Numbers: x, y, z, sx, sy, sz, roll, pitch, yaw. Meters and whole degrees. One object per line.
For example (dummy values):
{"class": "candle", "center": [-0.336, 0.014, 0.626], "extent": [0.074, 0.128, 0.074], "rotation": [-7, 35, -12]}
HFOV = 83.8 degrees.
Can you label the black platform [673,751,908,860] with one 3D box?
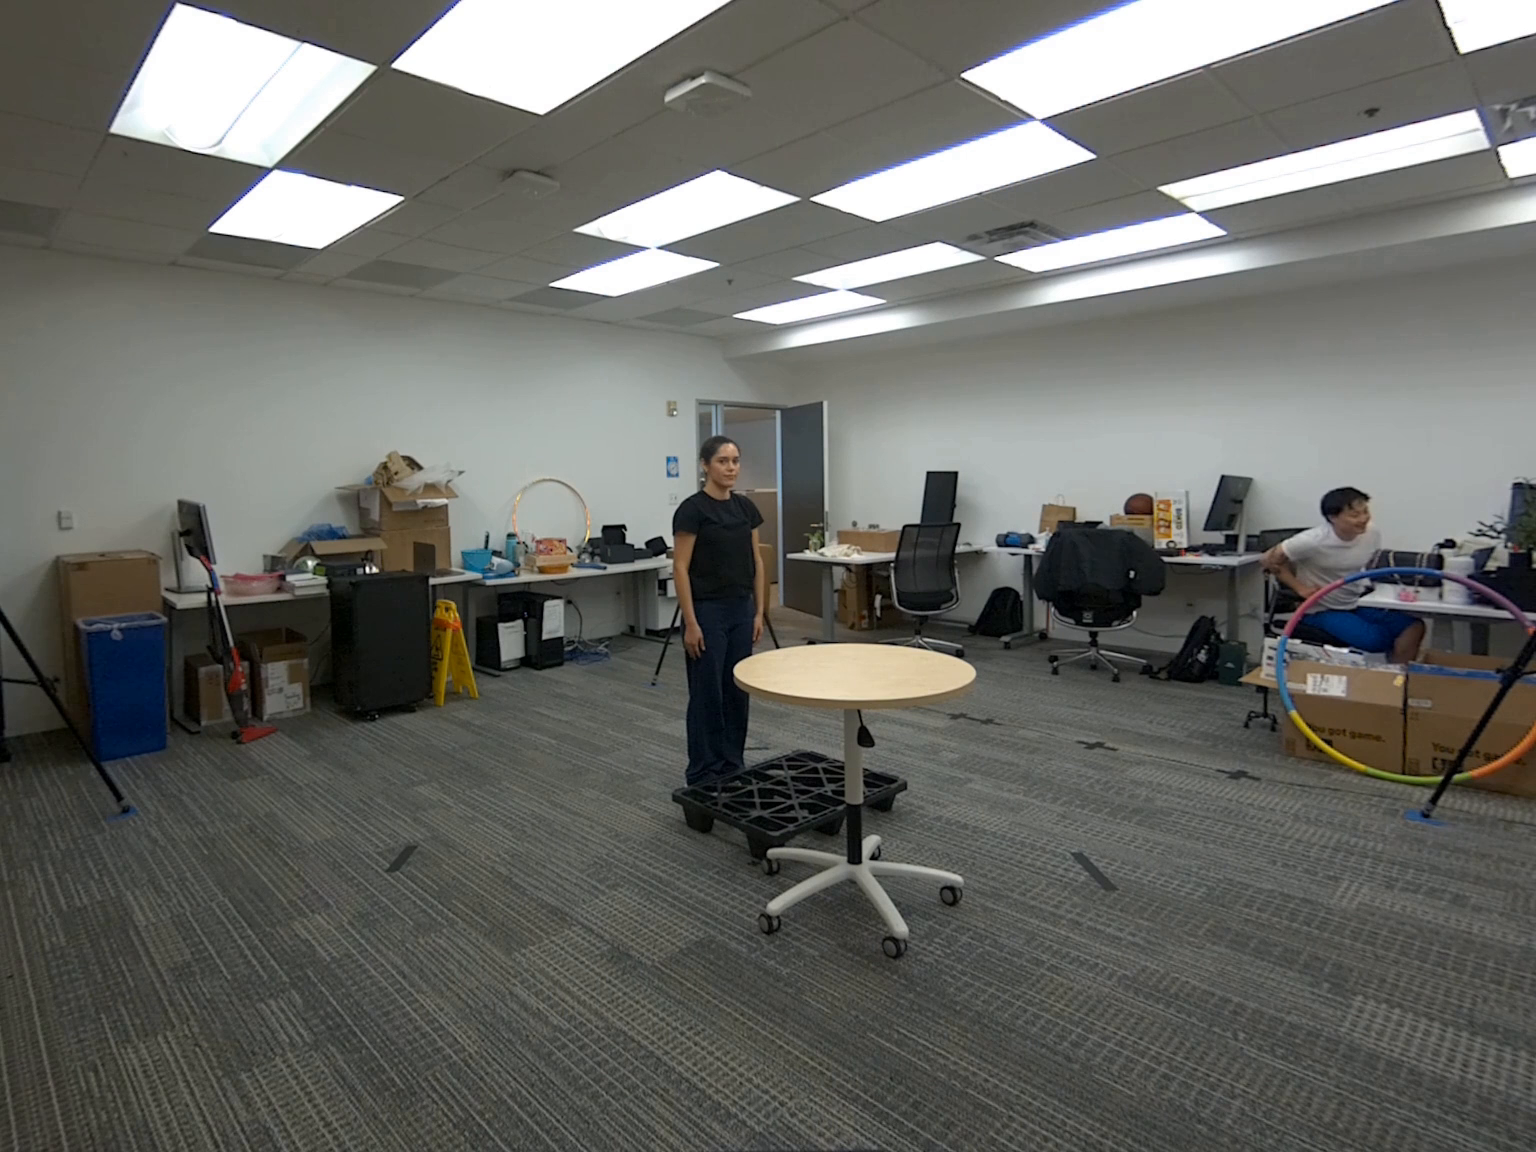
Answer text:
{"class": "black platform", "center": [0.091, 0.930, 3.520], "extent": [0.784, 0.143, 0.624], "rotation": [-7, 8, -44]}
